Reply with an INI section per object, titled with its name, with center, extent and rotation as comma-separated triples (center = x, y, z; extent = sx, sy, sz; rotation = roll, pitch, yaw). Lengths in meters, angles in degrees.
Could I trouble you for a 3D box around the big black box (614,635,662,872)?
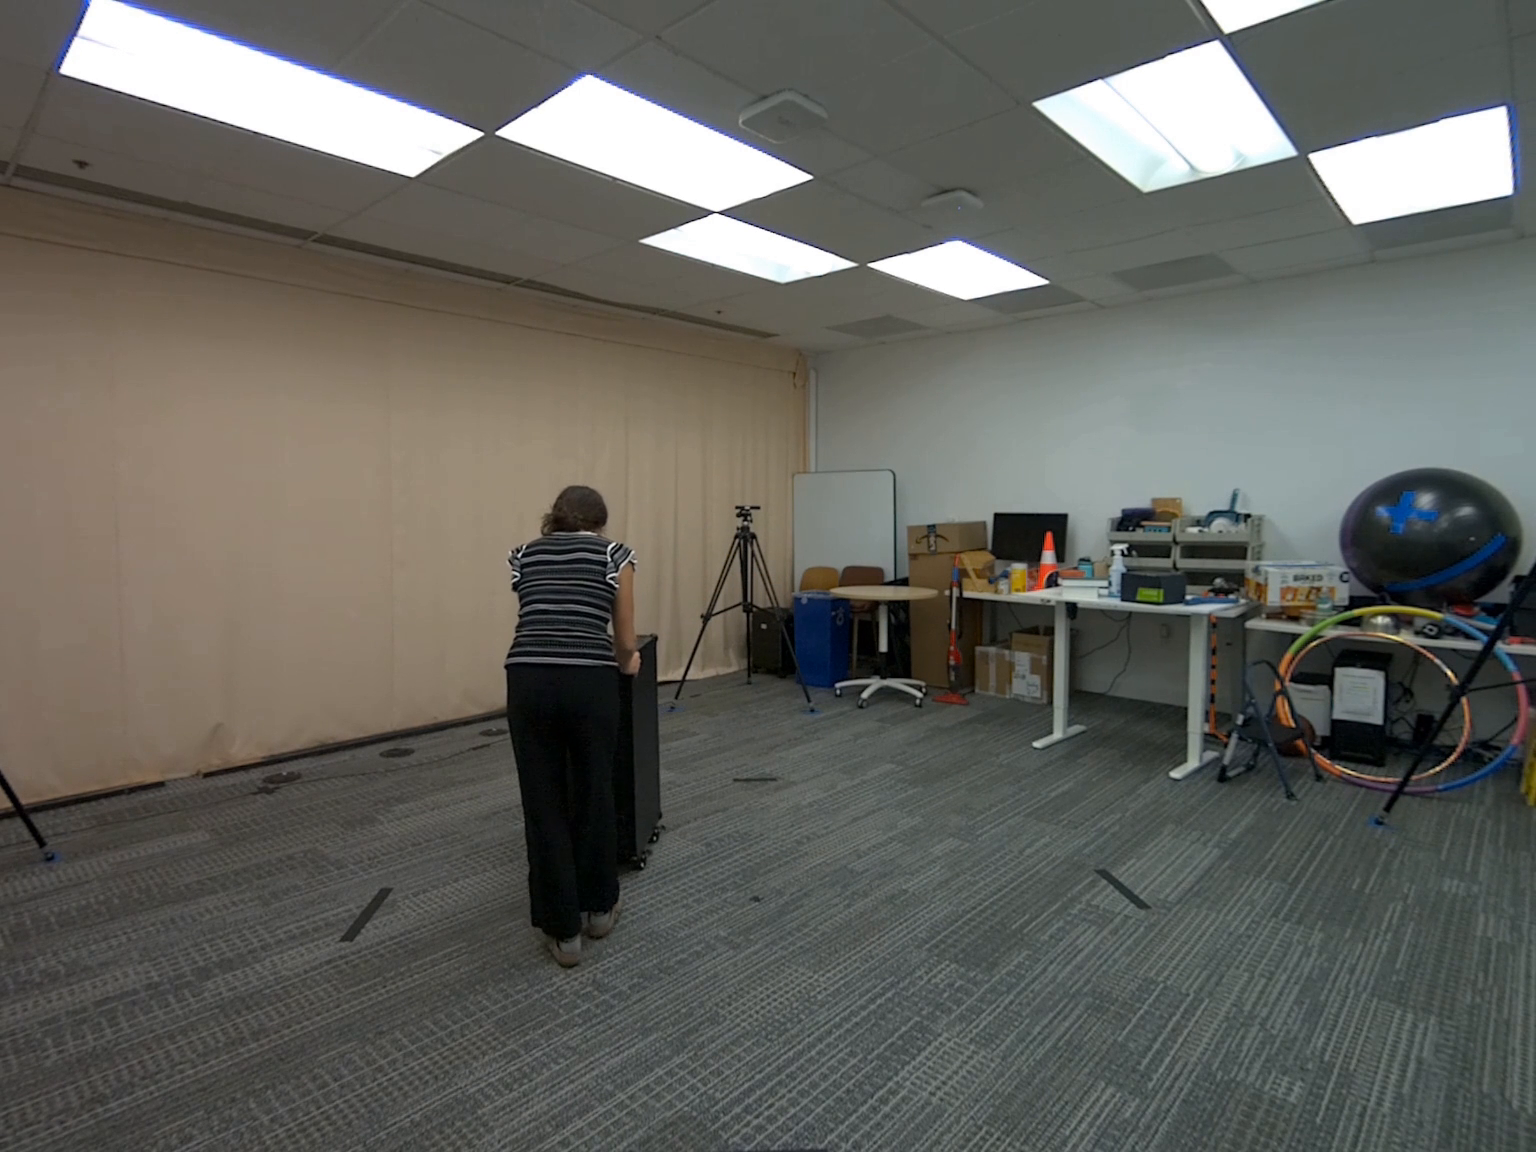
[big black box]
center = -0.656, 0.699, 3.351
extent = 0.399, 0.860, 0.518
rotation = -1, 3, 6
